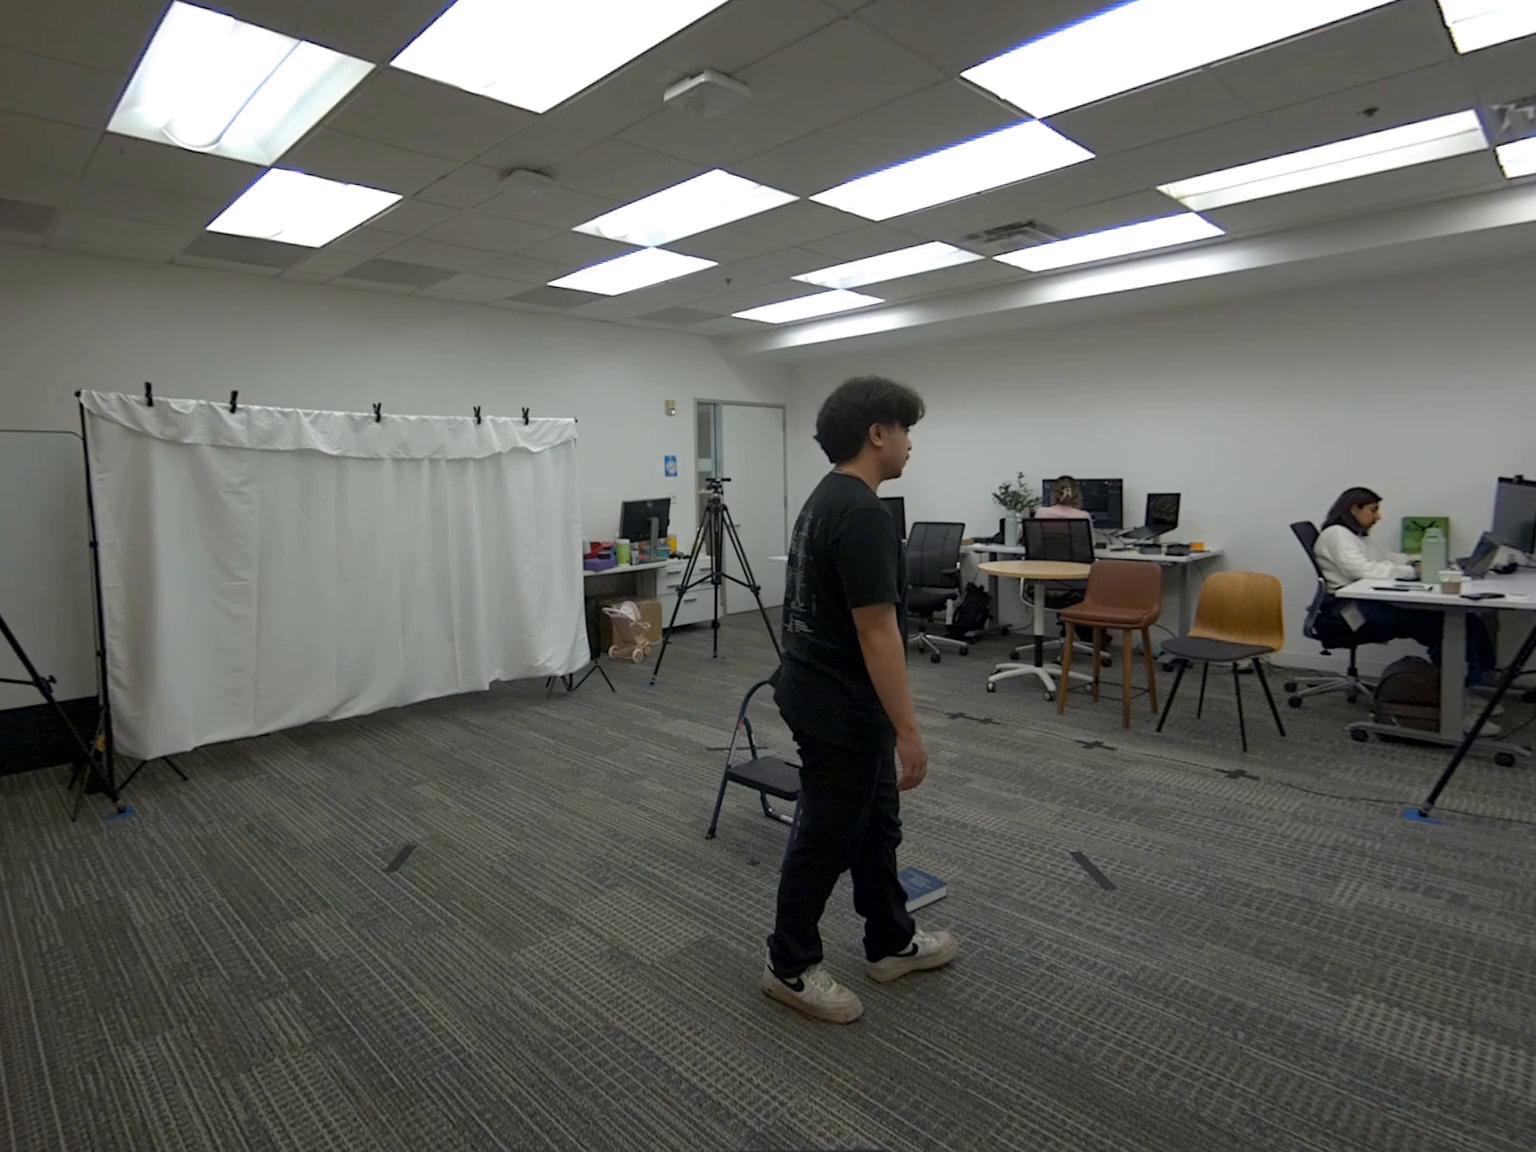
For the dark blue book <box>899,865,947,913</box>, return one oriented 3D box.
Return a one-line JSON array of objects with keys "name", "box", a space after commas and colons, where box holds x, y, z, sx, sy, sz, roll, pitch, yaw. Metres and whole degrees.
[{"name": "dark blue book", "box": [0.459, 1.045, 2.819, 0.239, 0.045, 0.168, -5, 8, -37]}]
